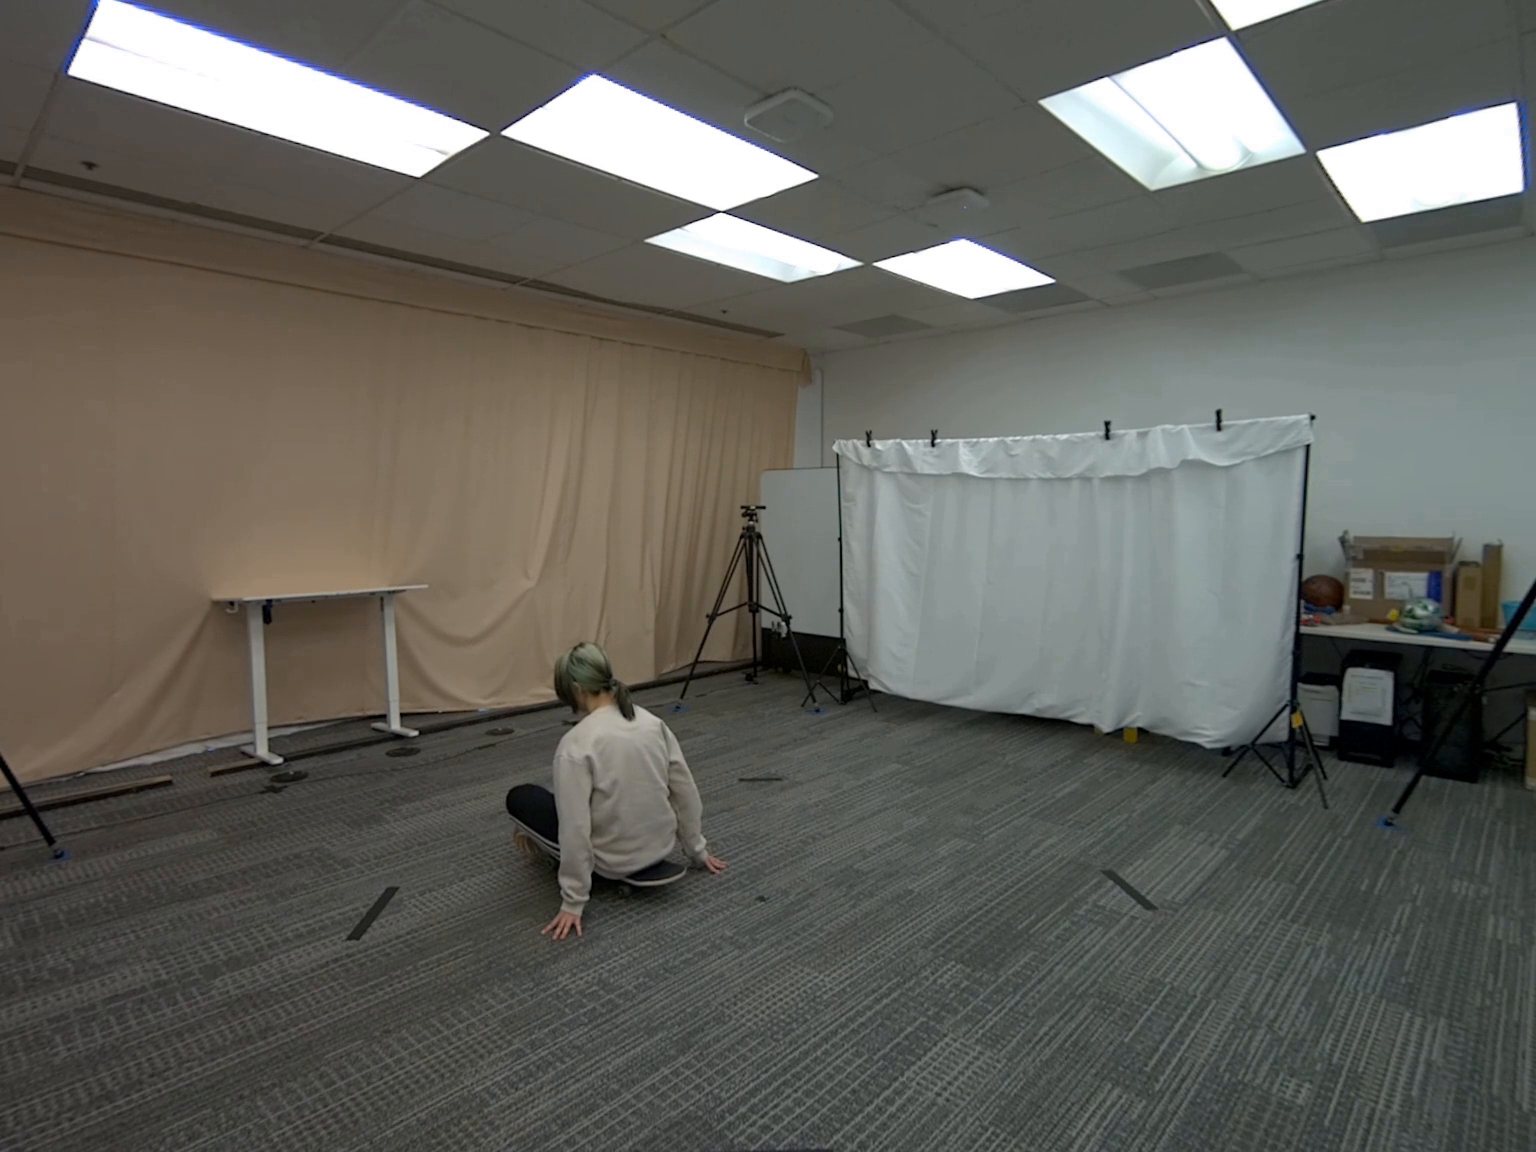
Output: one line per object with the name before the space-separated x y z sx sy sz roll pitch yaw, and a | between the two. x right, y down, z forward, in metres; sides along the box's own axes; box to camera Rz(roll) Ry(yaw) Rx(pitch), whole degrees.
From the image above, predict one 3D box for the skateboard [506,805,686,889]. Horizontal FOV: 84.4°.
skateboard | -0.650 1.080 3.192 0.811 0.110 0.188 6 10 37
